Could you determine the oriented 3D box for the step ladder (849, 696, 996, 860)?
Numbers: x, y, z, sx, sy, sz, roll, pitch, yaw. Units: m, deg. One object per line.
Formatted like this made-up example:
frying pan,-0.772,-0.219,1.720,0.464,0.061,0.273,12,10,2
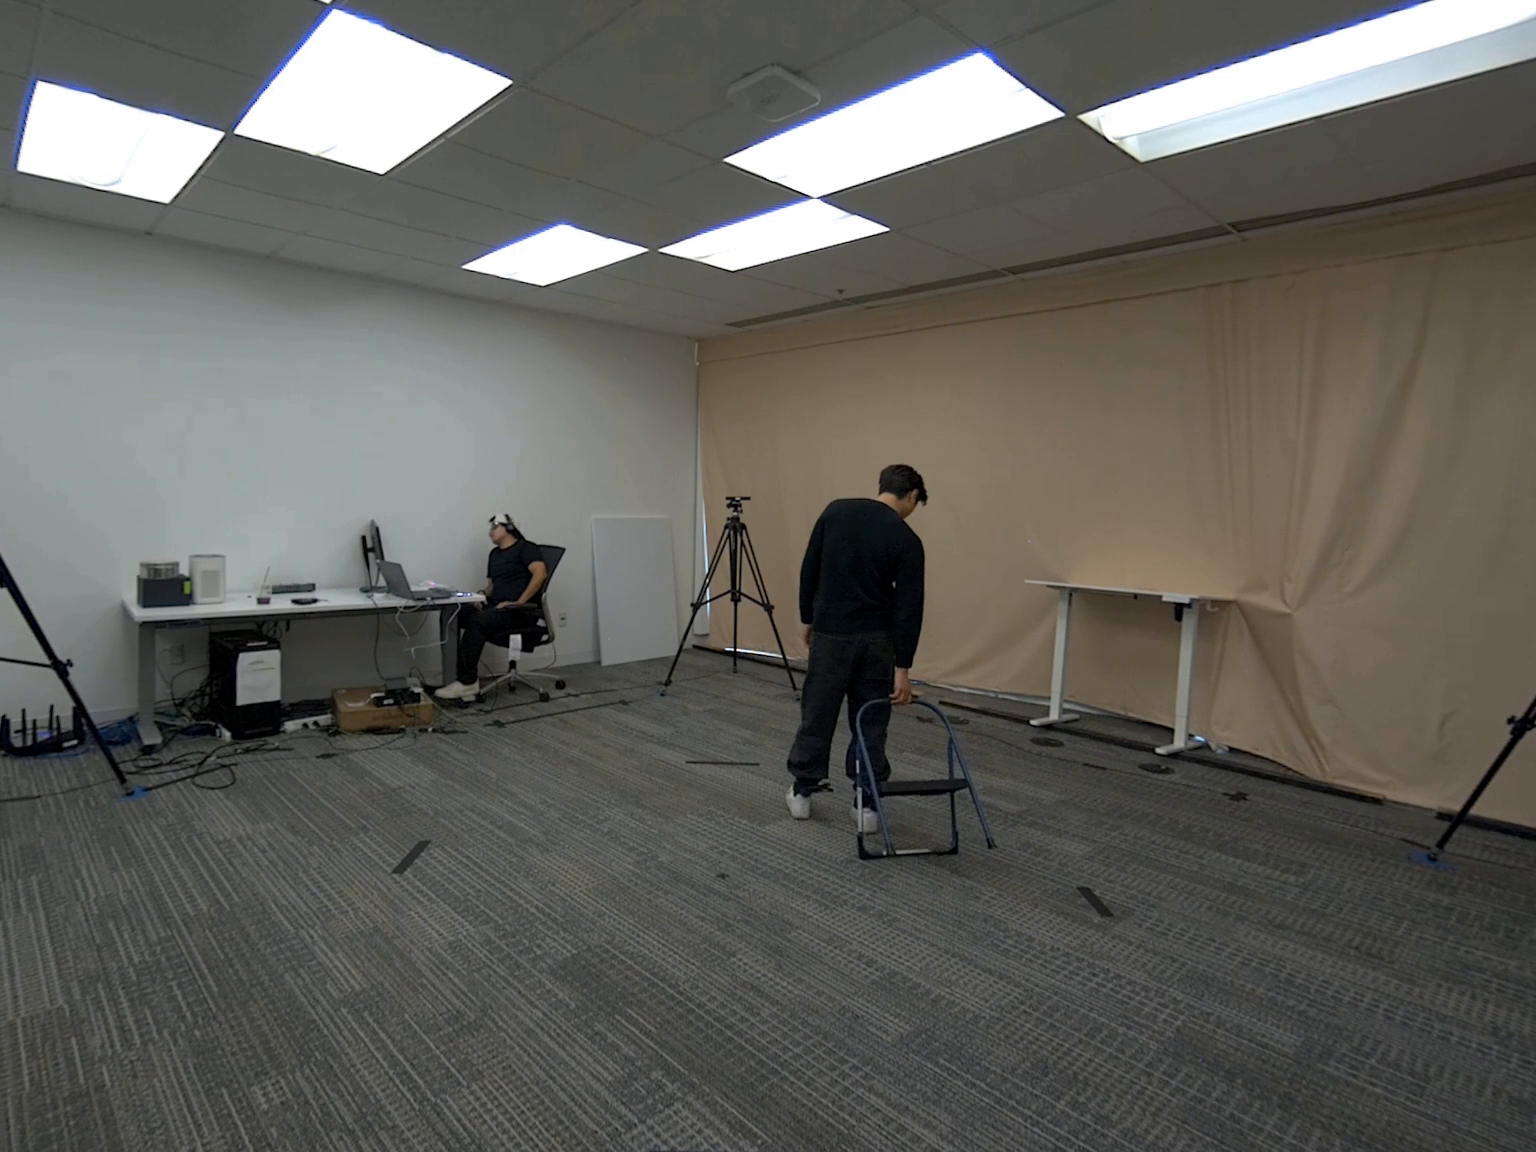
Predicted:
step ladder,0.566,0.767,3.291,0.426,0.616,0.347,1,-23,-13
